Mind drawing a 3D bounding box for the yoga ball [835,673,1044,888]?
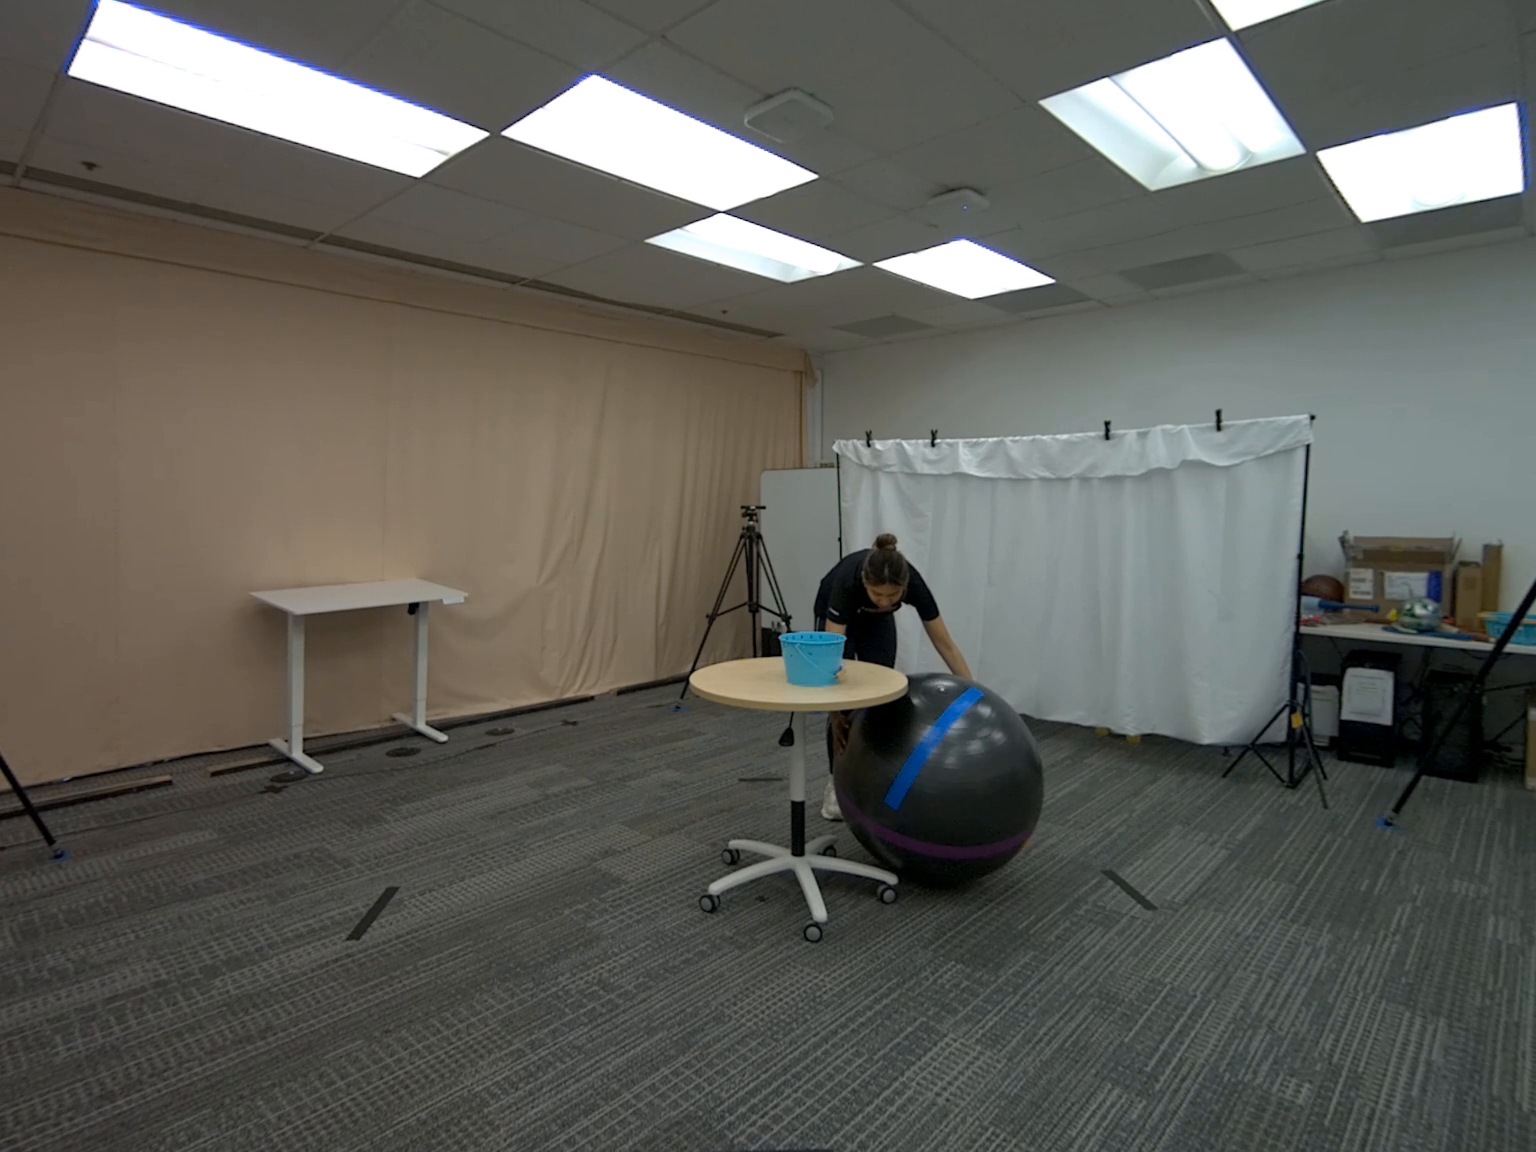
[{"bbox_3d":[0.649,0.749,3.150,0.757,0.756,0.761,0,4,-2],"label":"yoga ball"}]
